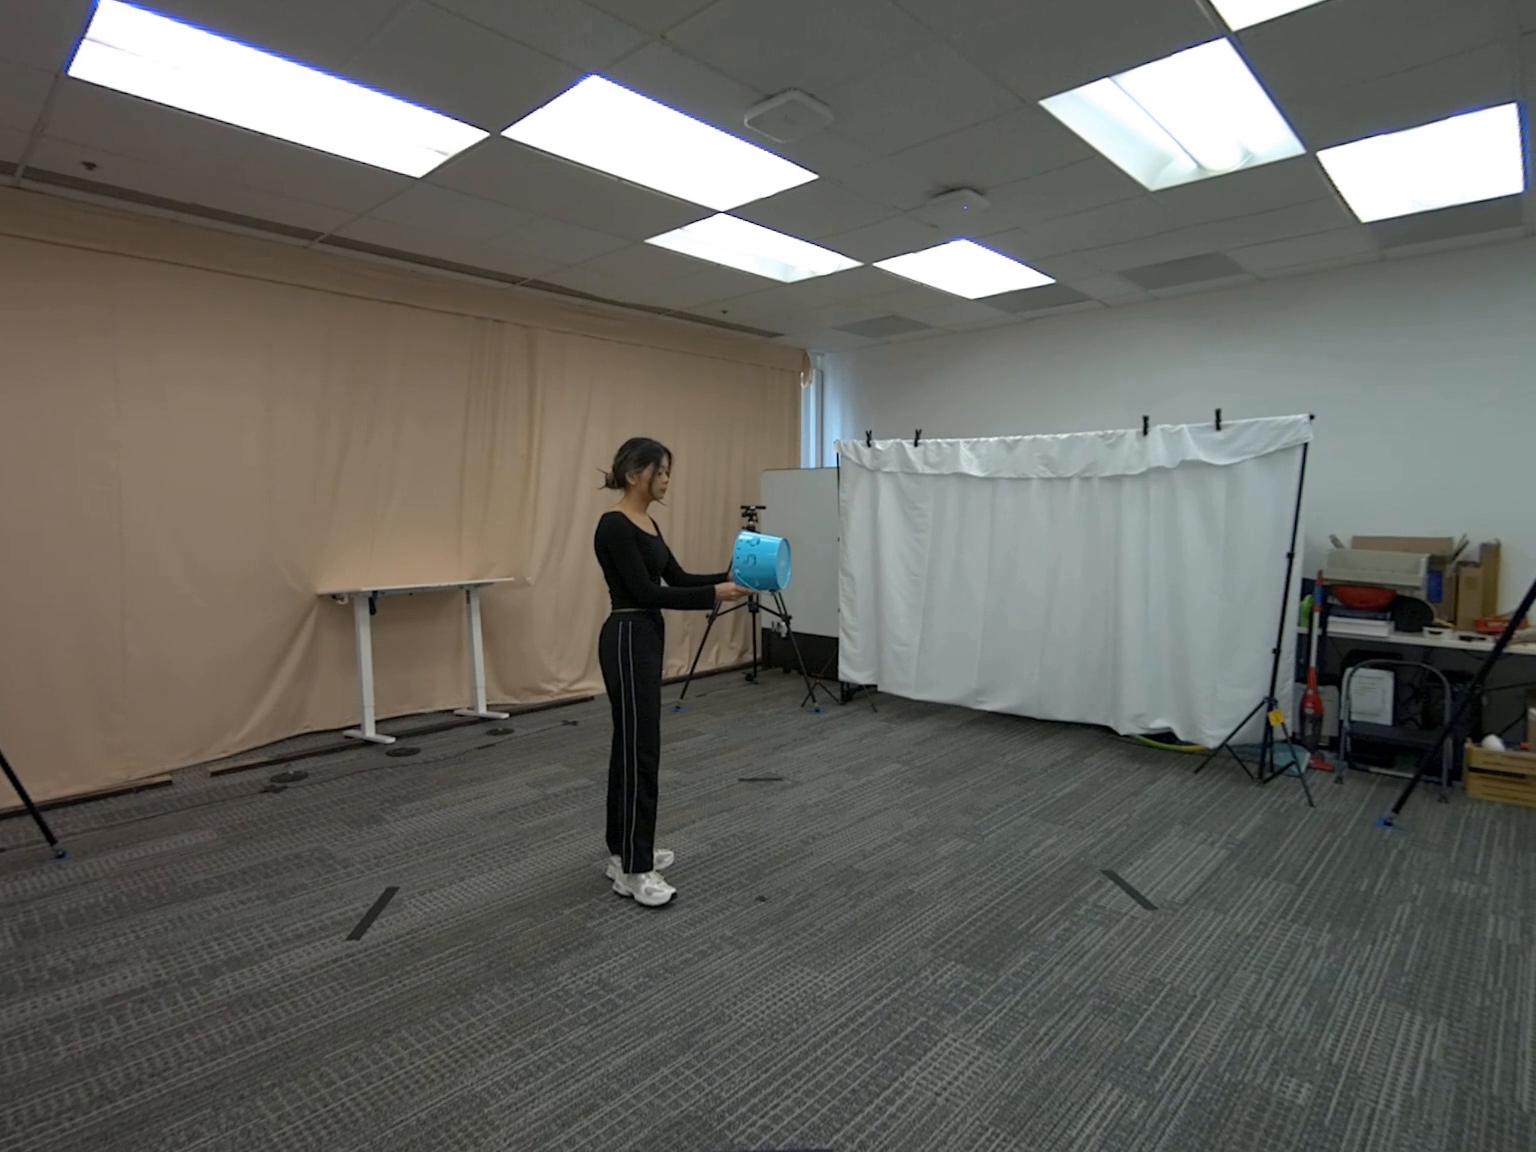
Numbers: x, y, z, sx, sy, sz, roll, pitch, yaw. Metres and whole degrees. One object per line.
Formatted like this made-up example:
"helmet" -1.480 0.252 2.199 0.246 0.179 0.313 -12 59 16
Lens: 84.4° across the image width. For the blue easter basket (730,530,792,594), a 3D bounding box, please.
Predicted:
"blue easter basket" -0.013 -0.045 3.015 0.159 0.243 0.239 2 4 20
